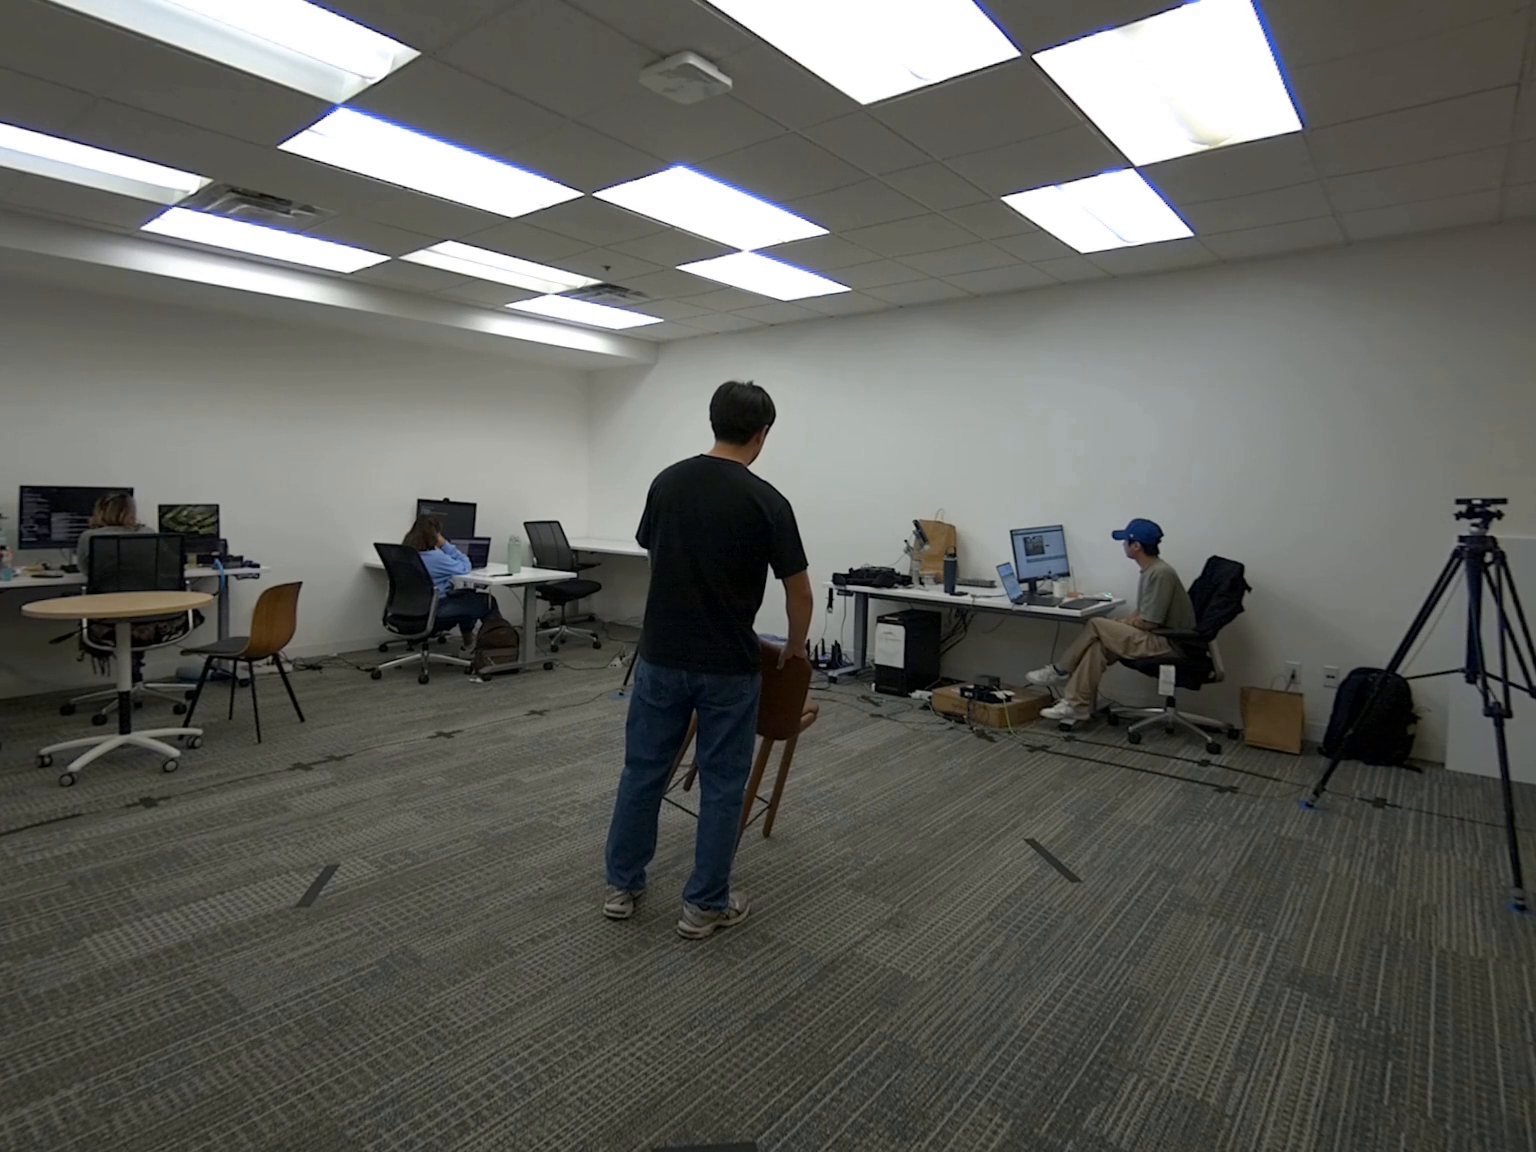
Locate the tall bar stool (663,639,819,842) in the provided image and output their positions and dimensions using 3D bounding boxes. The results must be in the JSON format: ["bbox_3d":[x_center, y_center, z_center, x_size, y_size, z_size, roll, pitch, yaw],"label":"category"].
[{"bbox_3d":[-0.111,0.589,3.210,0.469,0.883,0.459,23,14,19],"label":"tall bar stool"}]
